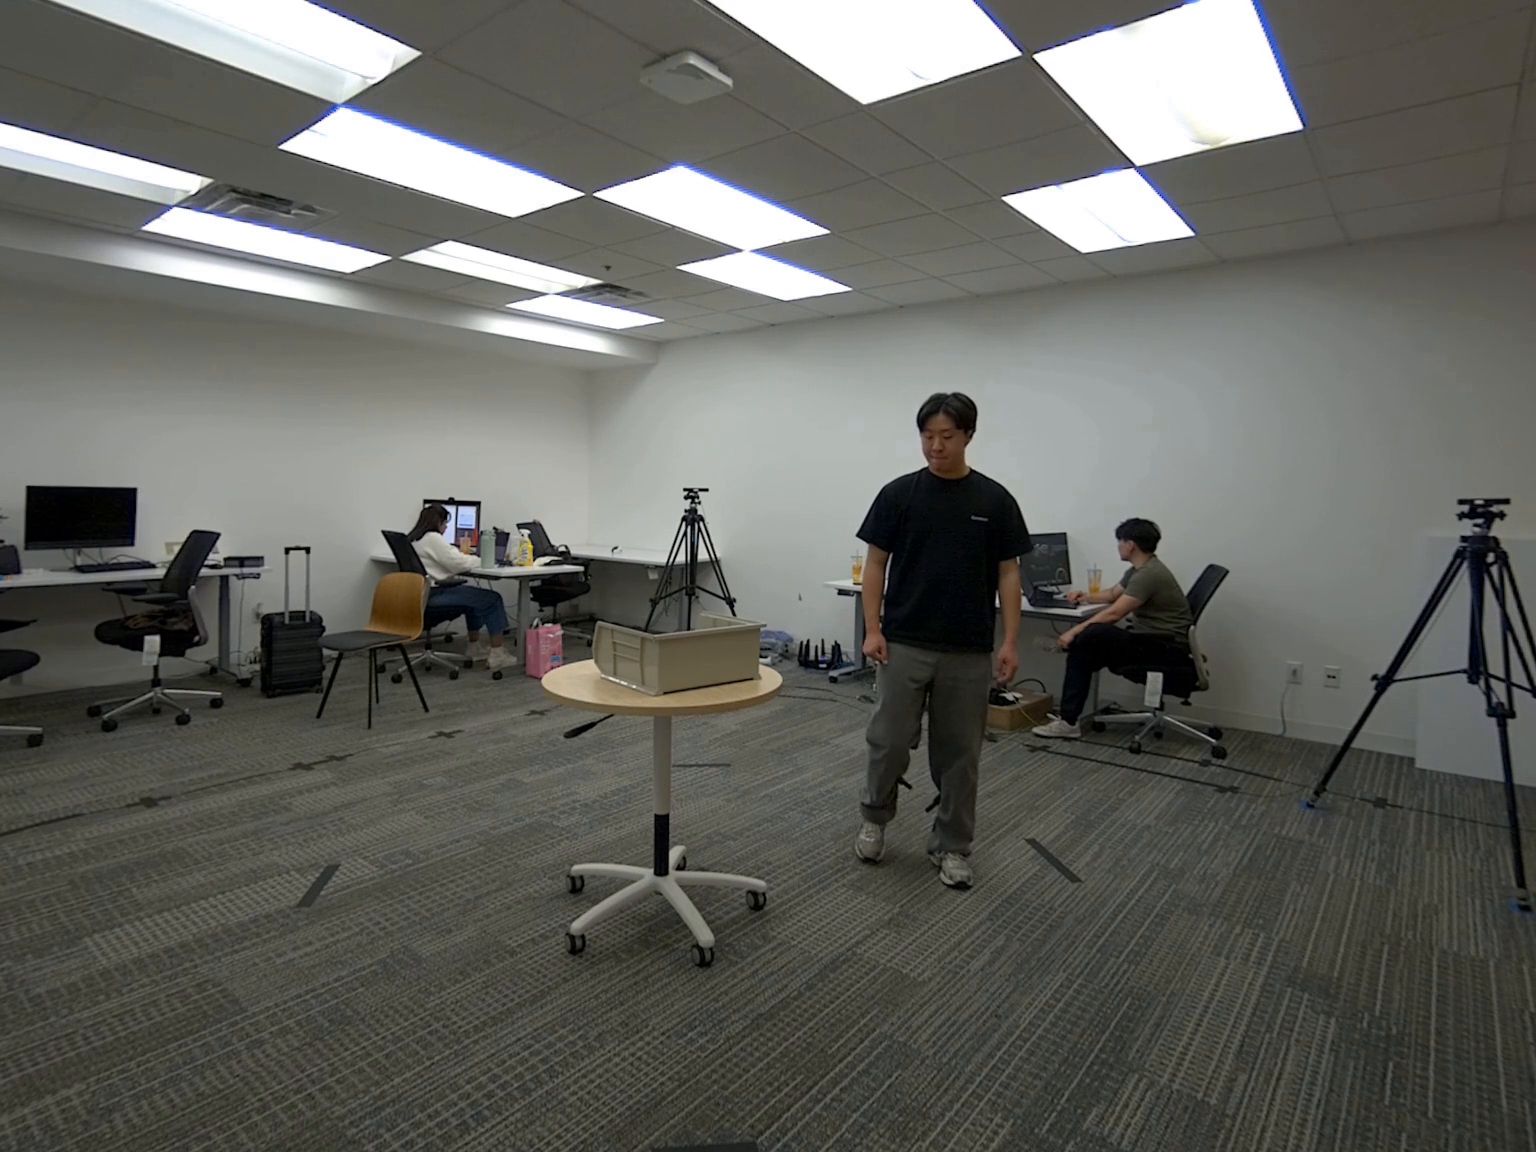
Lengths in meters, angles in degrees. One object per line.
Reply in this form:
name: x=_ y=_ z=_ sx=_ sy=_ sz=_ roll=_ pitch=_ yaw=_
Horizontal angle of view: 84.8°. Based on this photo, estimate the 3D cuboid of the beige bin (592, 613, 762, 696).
beige bin: x=-0.295 y=0.235 z=2.717 sx=0.410 sy=0.188 sz=0.390 roll=-3 pitch=7 yaw=-40
